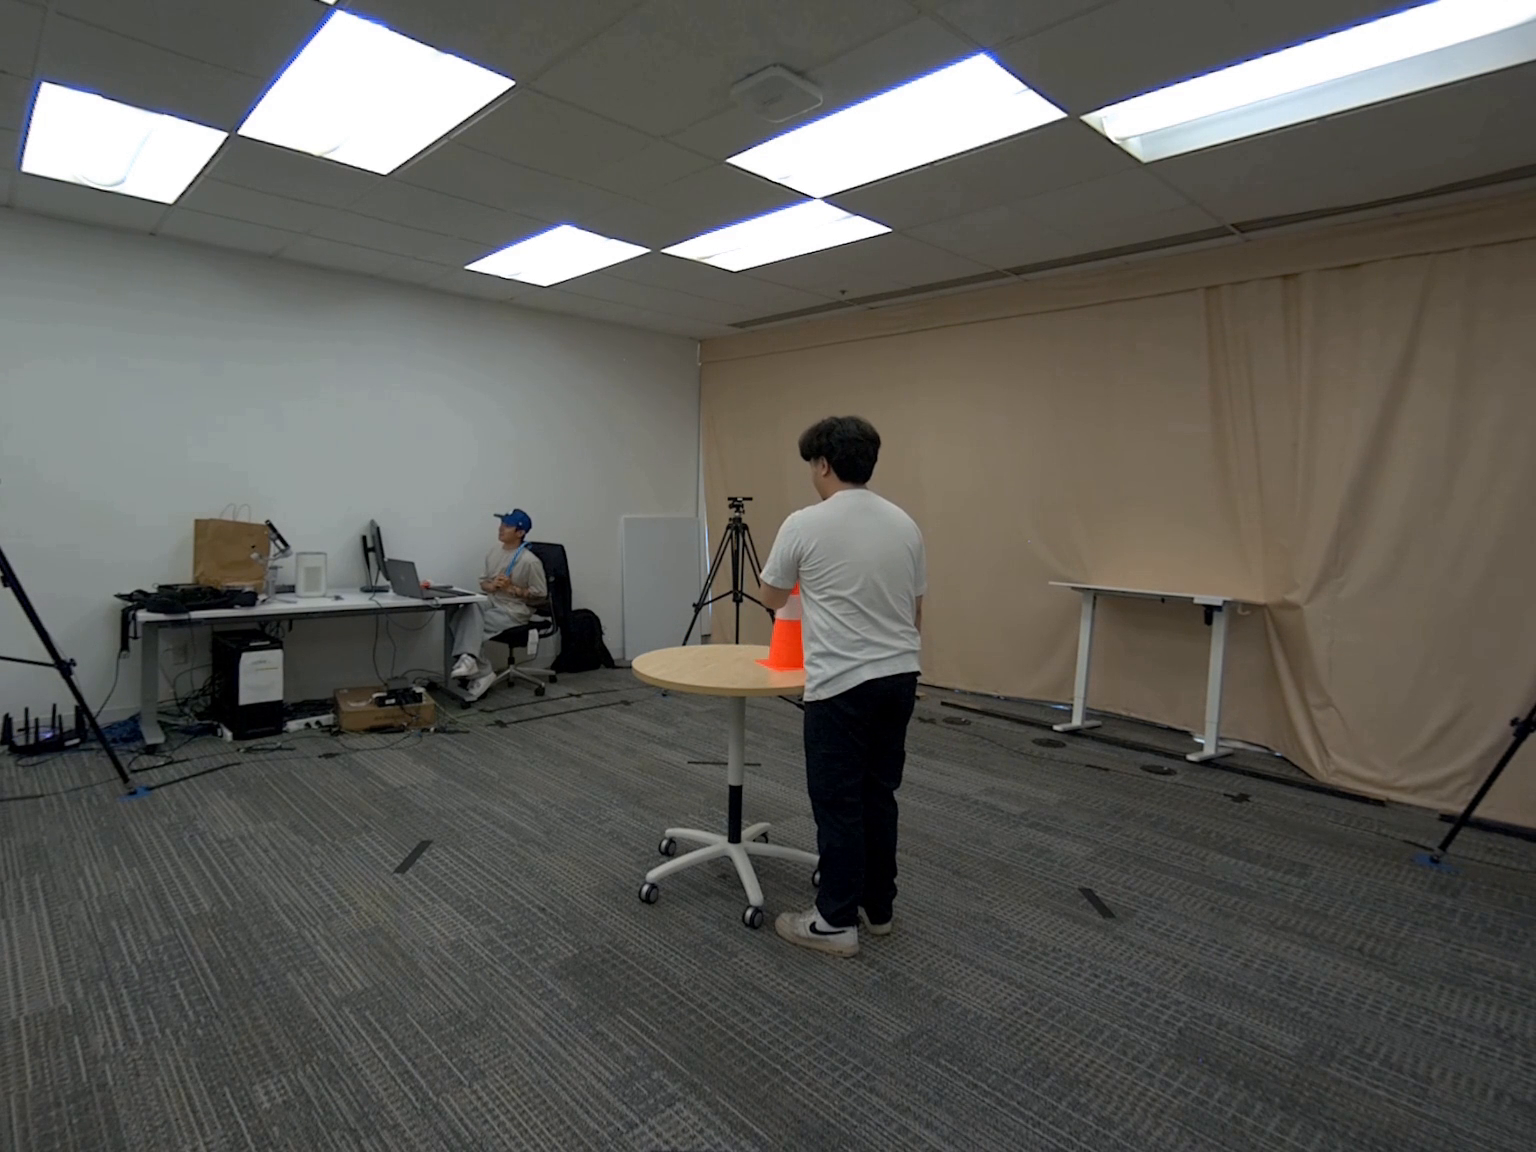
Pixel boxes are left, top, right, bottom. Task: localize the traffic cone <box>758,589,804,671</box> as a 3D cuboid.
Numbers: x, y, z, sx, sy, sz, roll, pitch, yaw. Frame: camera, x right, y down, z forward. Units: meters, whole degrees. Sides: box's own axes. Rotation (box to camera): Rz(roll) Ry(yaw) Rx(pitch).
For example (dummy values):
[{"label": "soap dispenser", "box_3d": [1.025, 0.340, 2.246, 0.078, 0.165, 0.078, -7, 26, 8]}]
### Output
[{"label": "traffic cone", "box_3d": [0.078, 0.130, 3.041, 0.200, 0.382, 0.208, -2, 5, -44]}]
